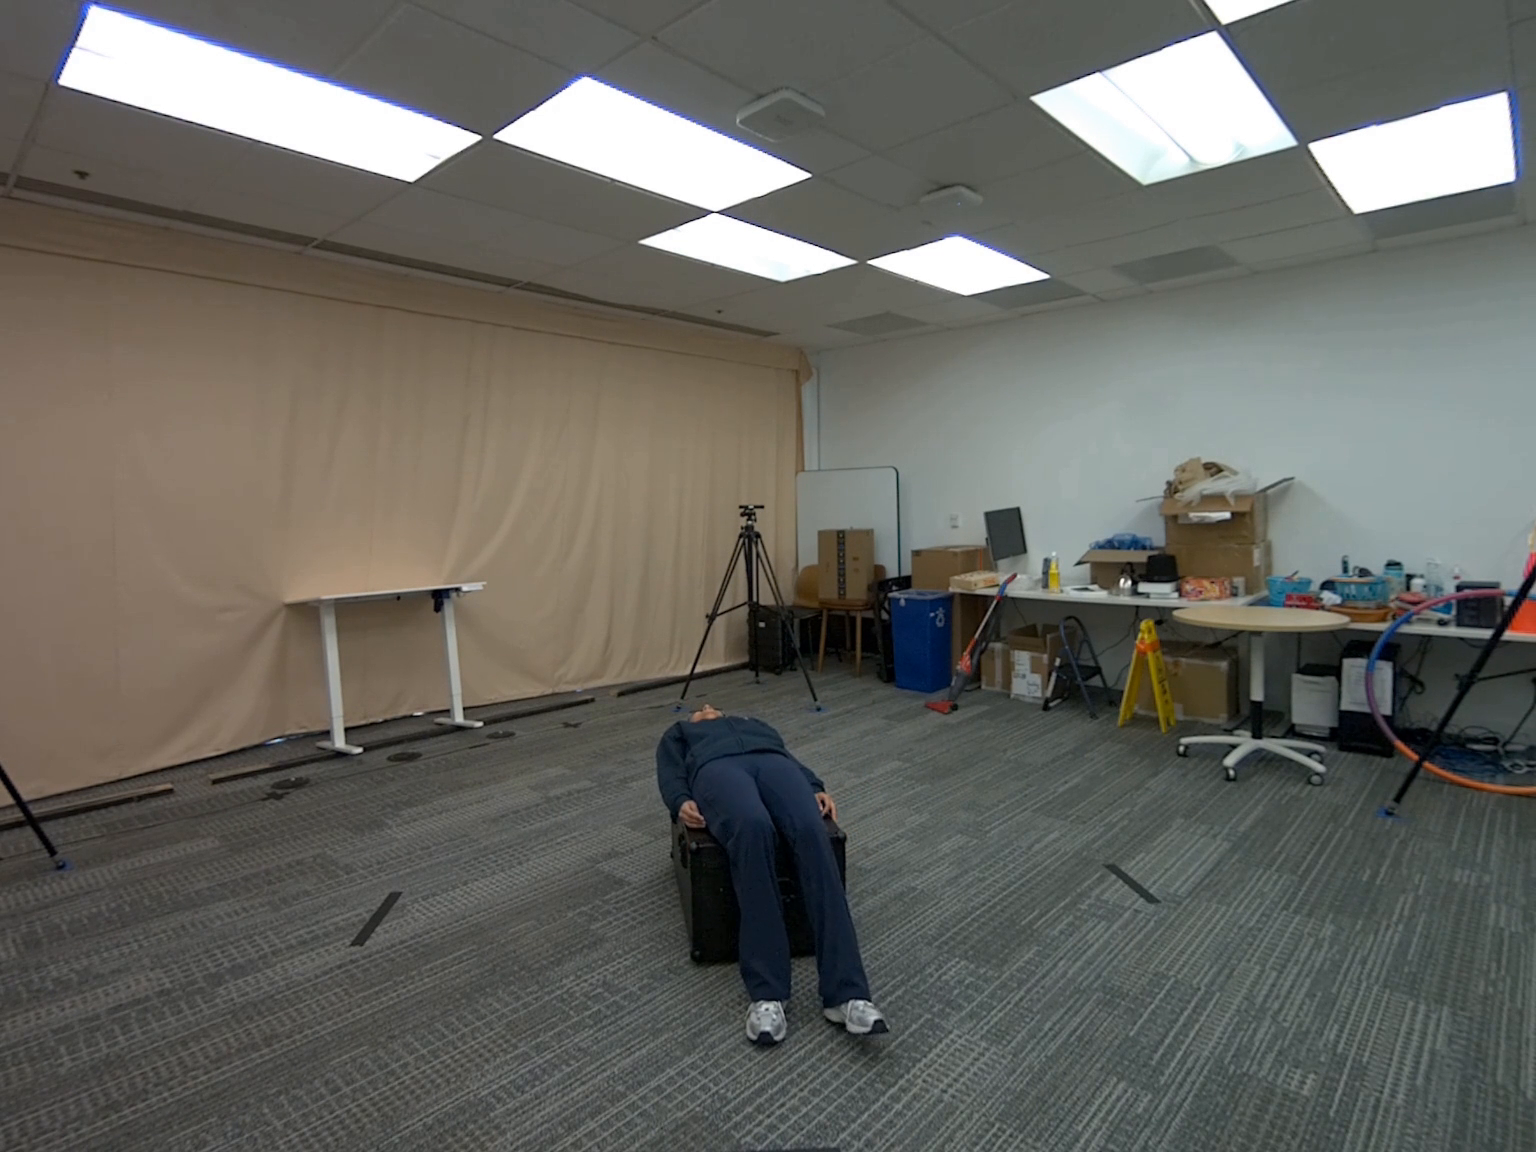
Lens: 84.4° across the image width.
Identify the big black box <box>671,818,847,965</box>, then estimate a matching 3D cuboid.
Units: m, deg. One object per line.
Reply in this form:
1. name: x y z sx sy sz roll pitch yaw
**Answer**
1. big black box: -0.074 0.952 2.974 0.516 0.395 0.872 -3 6 -10
